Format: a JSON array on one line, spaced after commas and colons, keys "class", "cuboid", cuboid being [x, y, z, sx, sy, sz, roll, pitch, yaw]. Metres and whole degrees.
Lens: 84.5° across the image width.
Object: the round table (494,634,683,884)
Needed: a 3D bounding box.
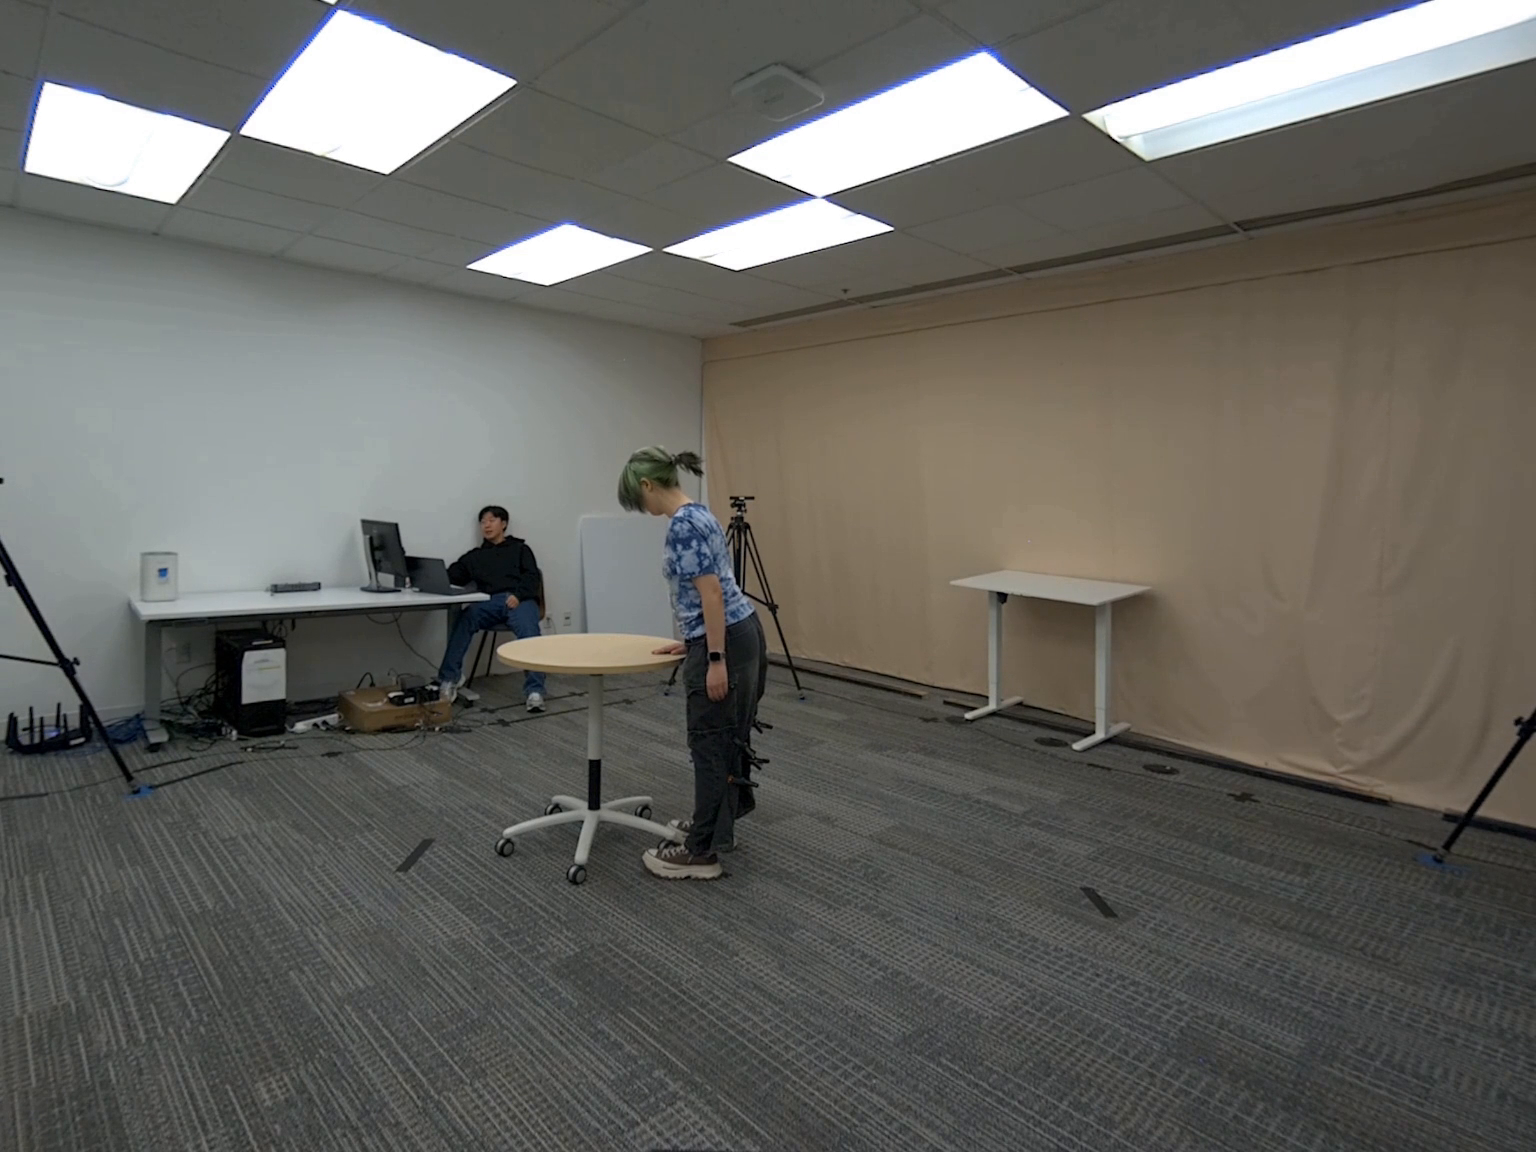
[{"class": "round table", "cuboid": [-0.679, 0.673, 3.352, 0.784, 0.784, 0.788, 1, 4, -1]}]
